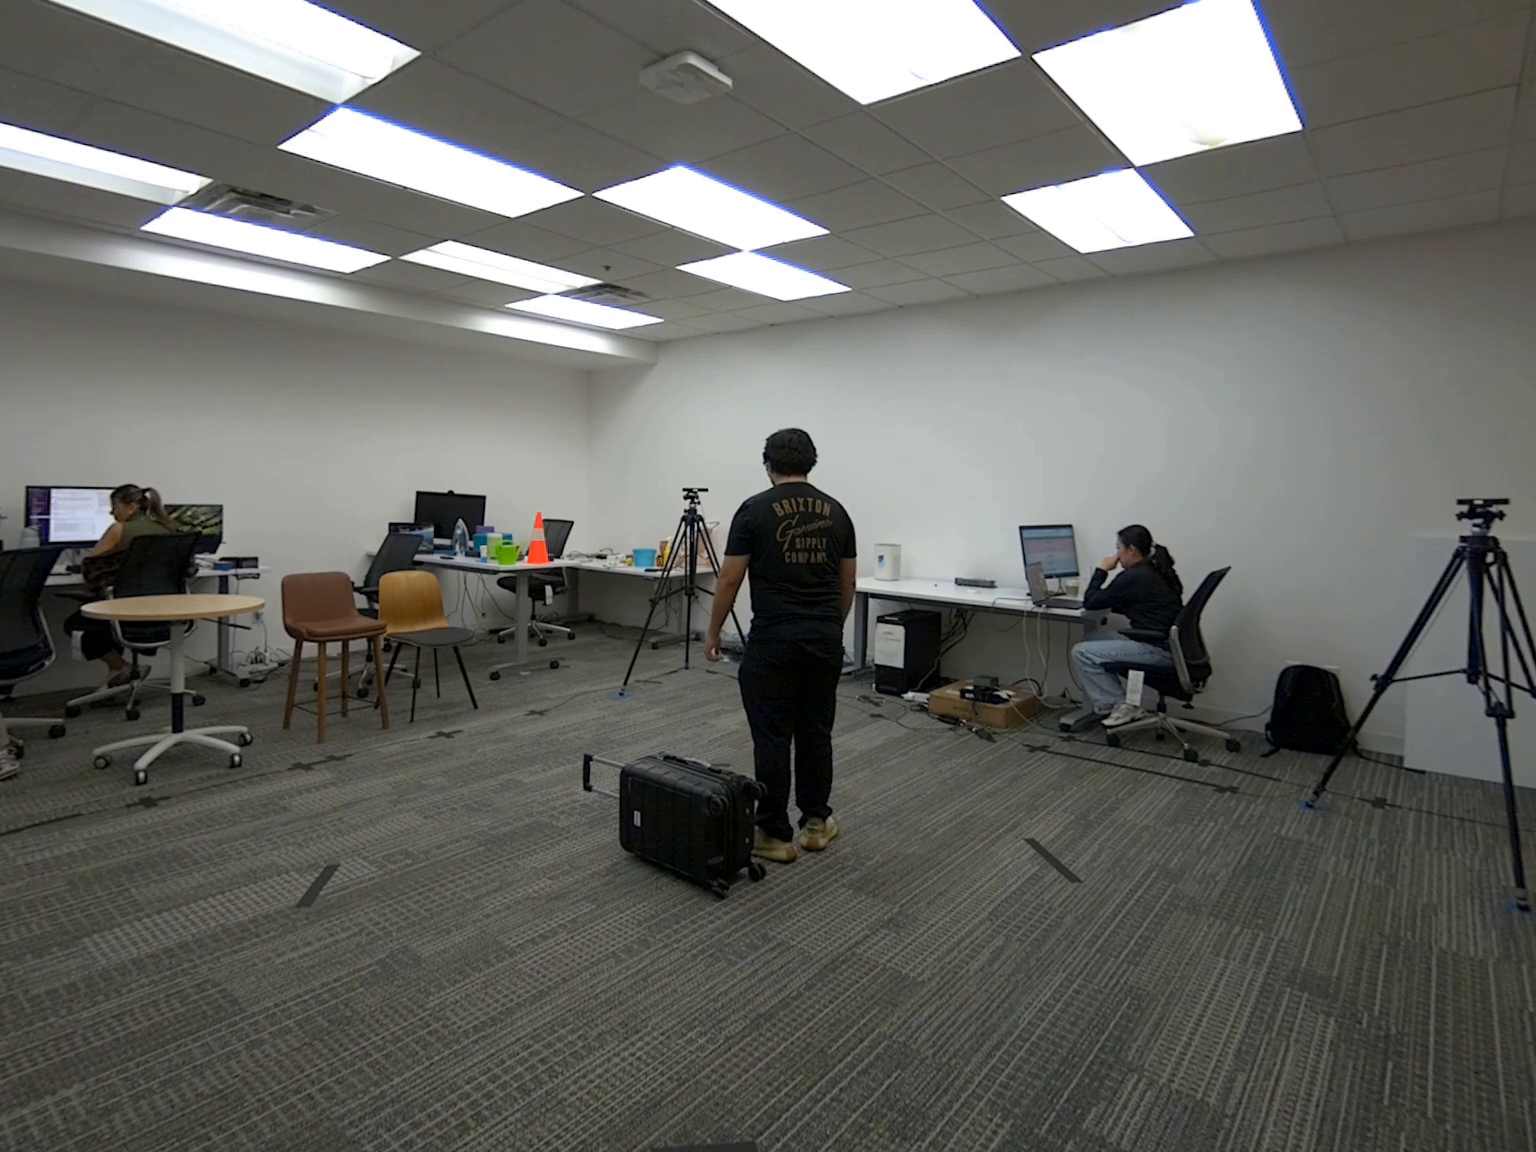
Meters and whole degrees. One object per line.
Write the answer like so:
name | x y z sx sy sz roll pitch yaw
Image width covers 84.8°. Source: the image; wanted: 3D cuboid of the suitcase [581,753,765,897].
suitcase | -0.476 0.865 3.253 1.011 0.383 0.249 4 5 39
